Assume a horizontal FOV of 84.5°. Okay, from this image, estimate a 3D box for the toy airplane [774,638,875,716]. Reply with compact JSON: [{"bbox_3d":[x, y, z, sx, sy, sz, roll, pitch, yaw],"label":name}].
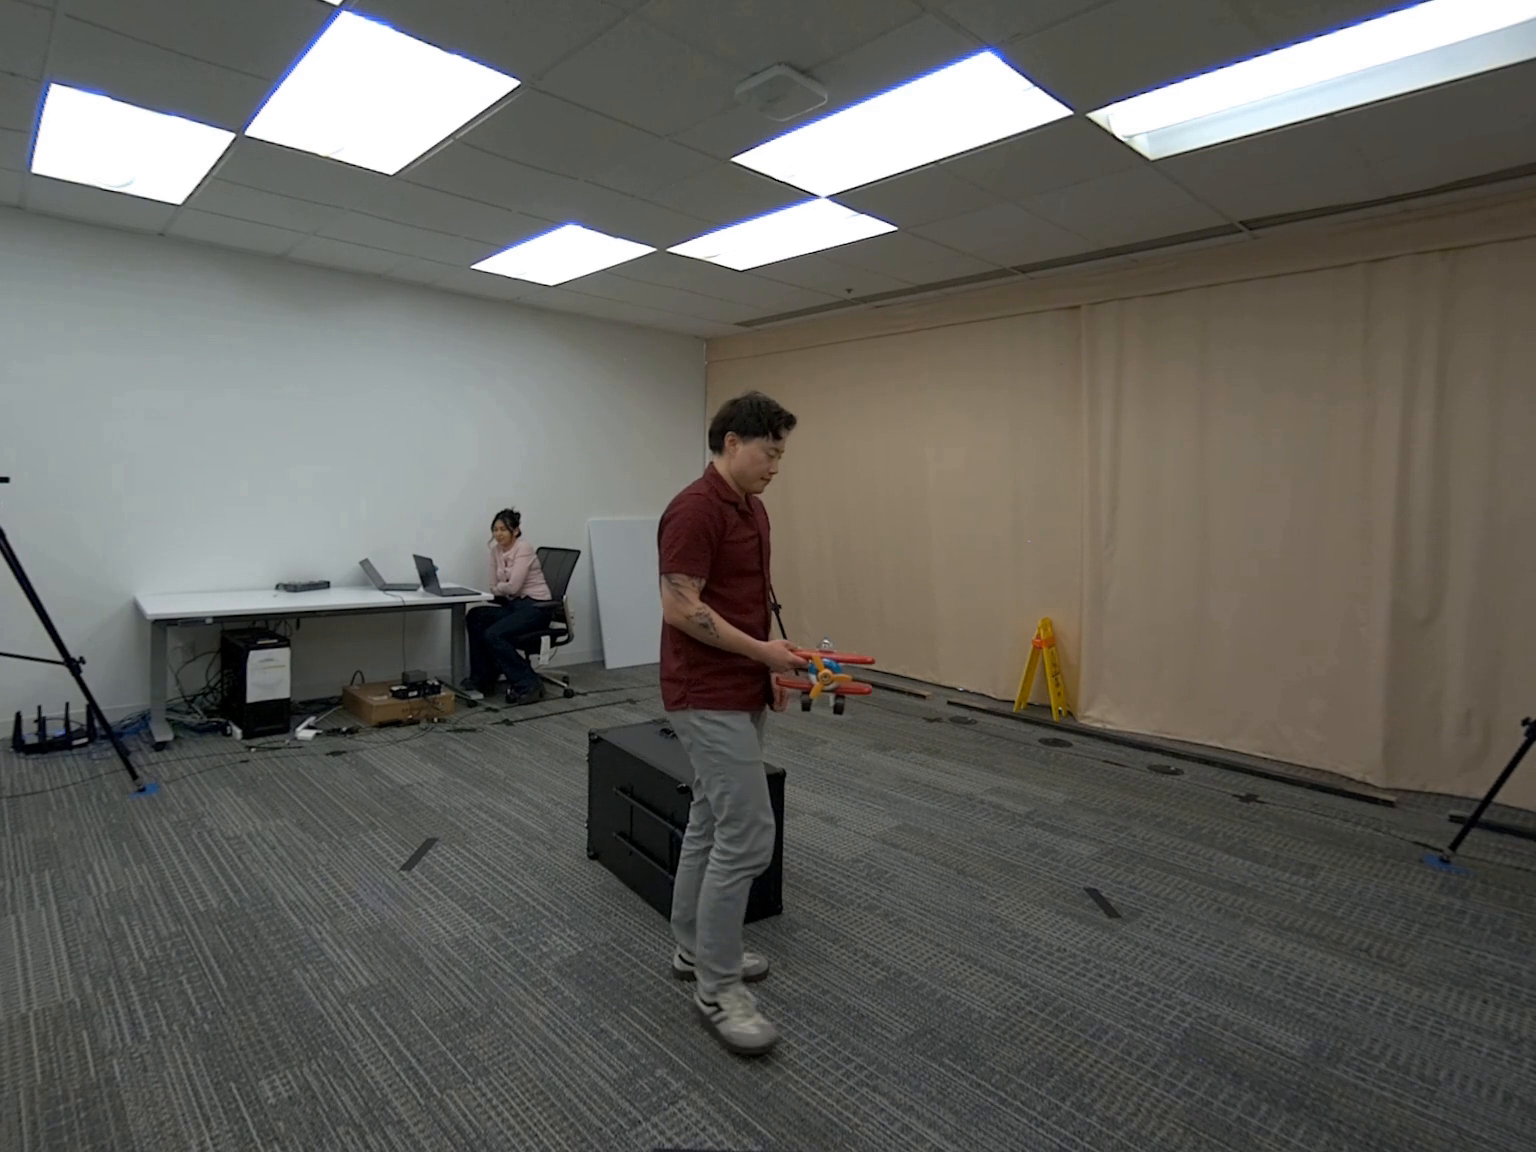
[{"bbox_3d":[0.130,0.256,2.255,0.247,0.154,0.266,-5,22,-23],"label":"toy airplane"}]
